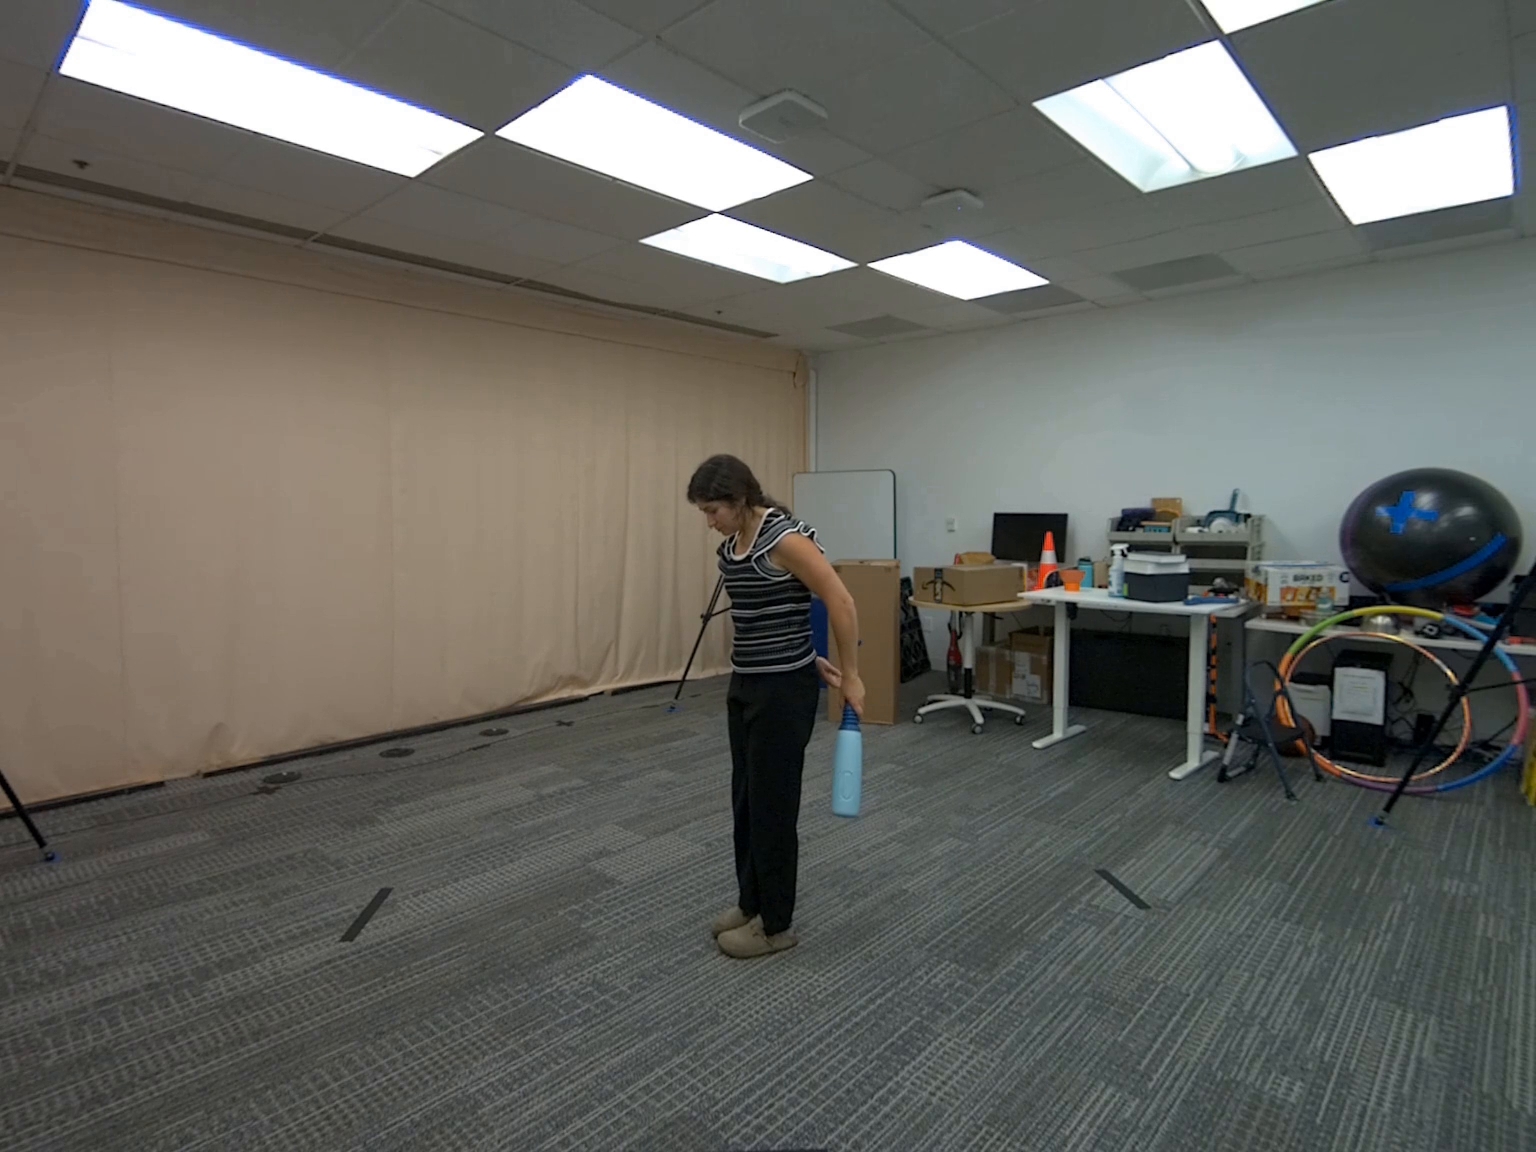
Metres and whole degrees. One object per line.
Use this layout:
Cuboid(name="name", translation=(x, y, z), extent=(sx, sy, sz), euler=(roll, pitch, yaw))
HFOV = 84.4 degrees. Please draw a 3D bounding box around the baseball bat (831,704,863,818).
Cuboid(name="baseball bat", translation=(0.253, 0.458, 2.562), extent=(0.089, 0.548, 0.088), euler=(6, -21, 1))
